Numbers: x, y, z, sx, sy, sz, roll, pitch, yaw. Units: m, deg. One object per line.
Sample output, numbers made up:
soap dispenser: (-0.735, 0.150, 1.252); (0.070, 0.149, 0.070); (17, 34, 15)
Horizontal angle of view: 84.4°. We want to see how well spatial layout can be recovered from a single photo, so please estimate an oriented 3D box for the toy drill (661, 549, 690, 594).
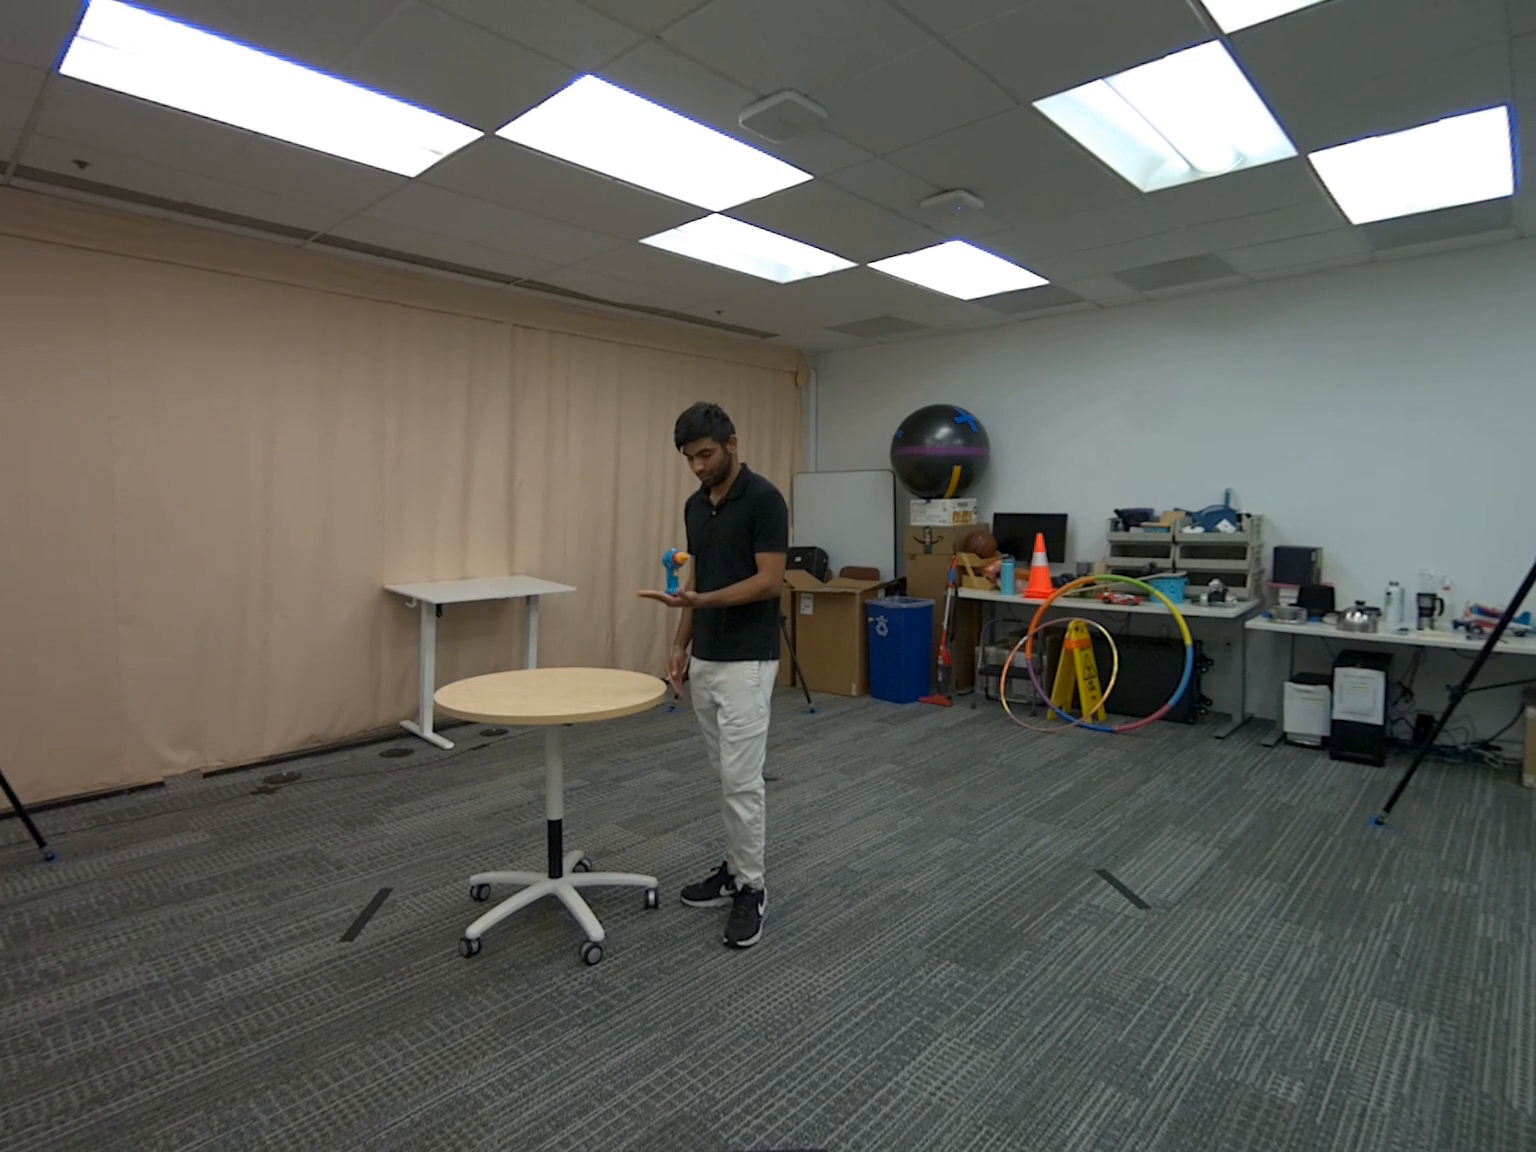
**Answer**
toy drill: (-0.277, -0.014, 2.585); (0.060, 0.146, 0.173); (-1, -3, -22)
